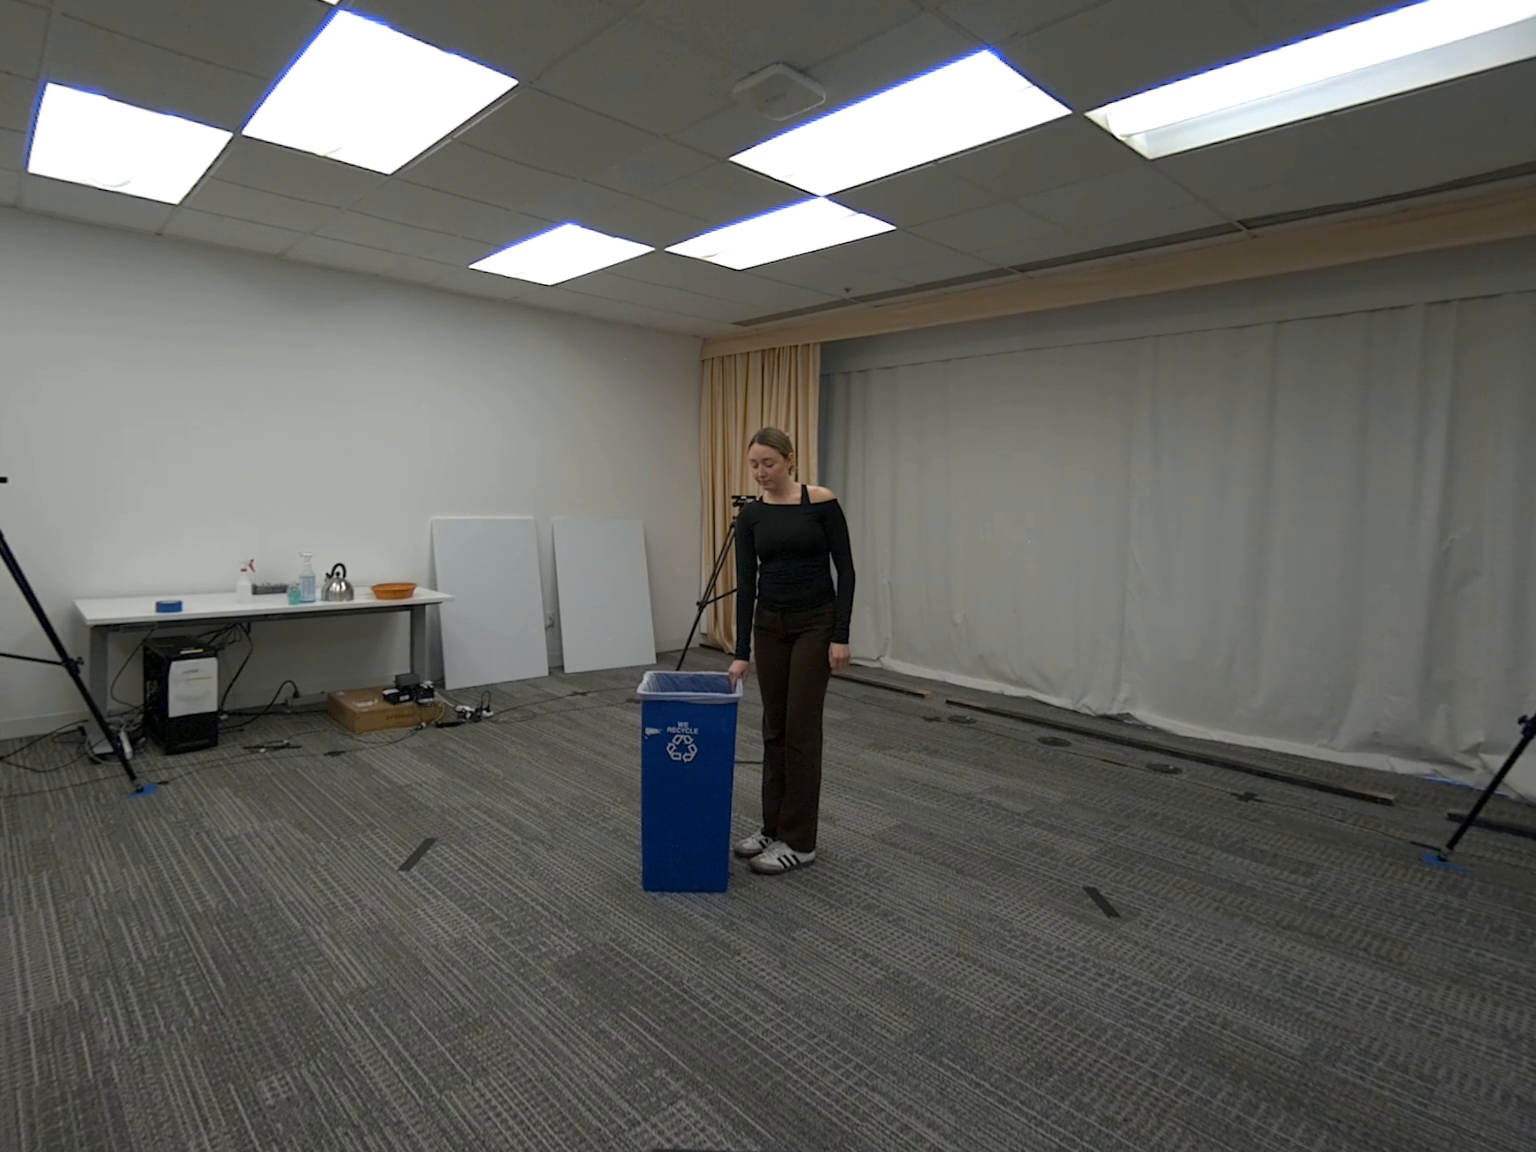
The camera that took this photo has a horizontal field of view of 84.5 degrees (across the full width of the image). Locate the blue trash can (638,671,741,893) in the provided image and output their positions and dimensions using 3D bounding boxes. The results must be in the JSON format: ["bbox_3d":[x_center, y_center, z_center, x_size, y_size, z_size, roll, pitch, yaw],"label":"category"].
[{"bbox_3d":[-0.291,0.742,3.084,0.374,0.711,0.379,1,4,-1],"label":"blue trash can"}]
